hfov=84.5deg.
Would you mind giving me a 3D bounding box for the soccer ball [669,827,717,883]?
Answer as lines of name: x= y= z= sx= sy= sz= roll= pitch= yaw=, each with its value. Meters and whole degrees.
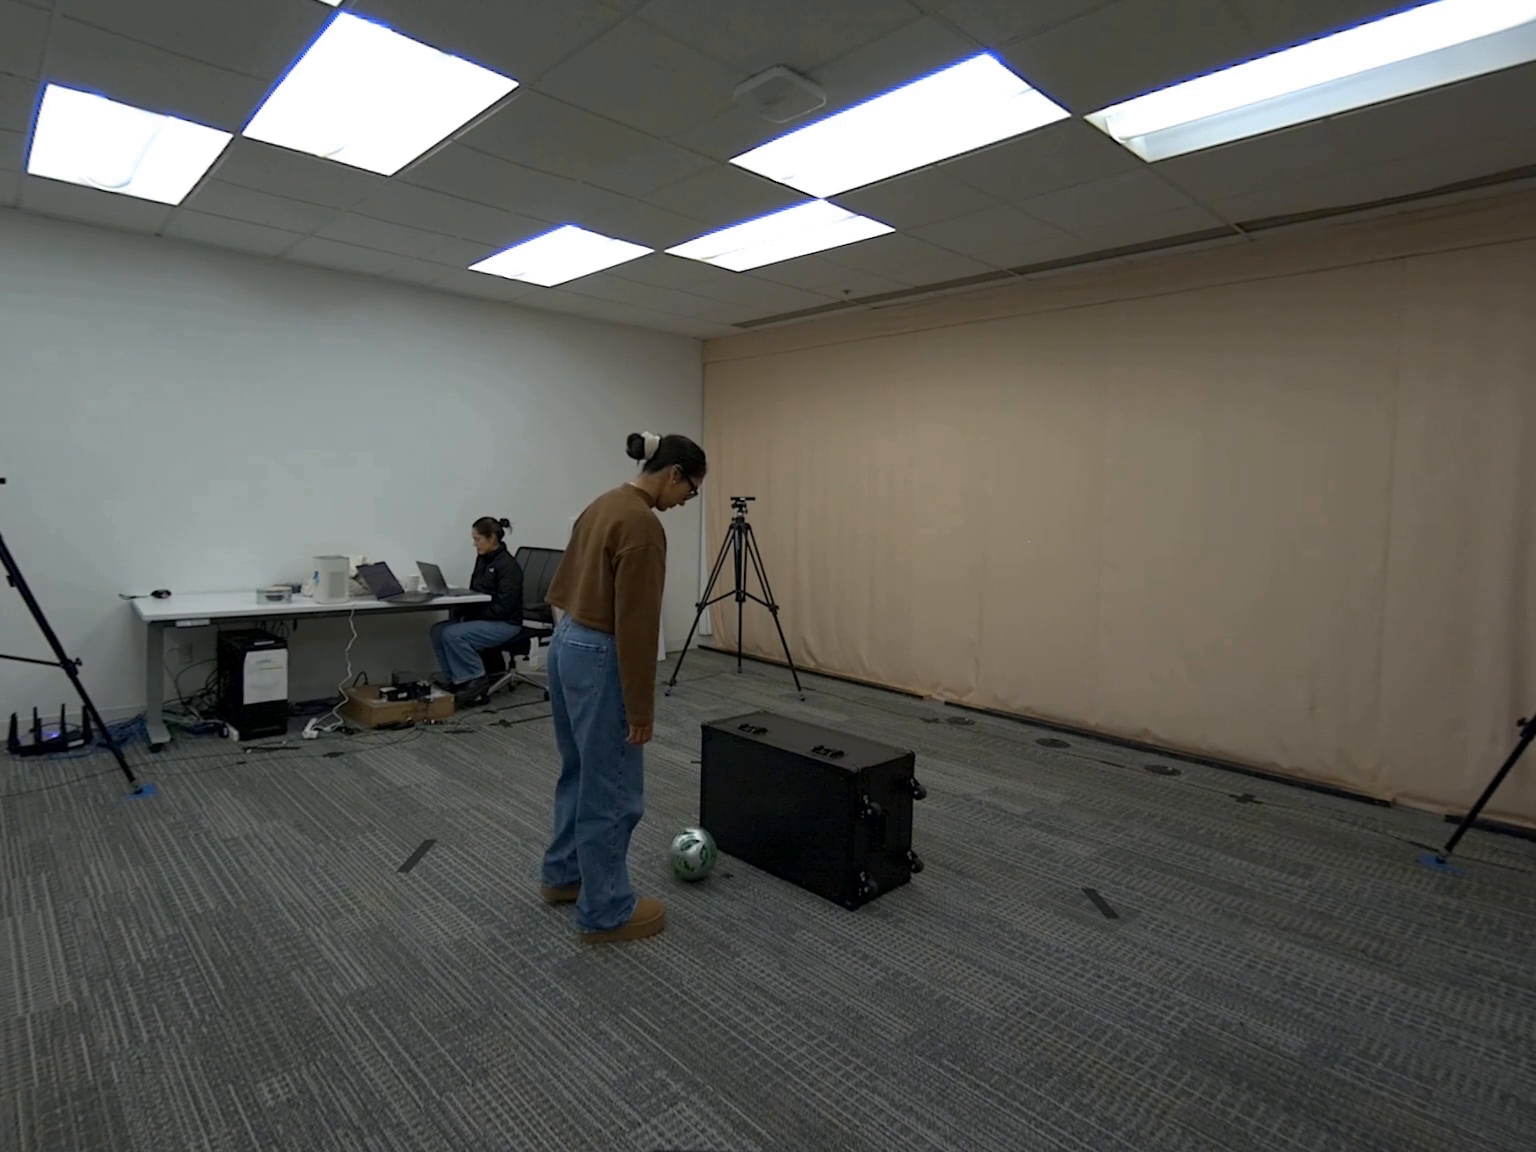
soccer ball: x=-0.281 y=1.003 z=3.076 sx=0.187 sy=0.187 sz=0.188 roll=1 pitch=4 yaw=-1
